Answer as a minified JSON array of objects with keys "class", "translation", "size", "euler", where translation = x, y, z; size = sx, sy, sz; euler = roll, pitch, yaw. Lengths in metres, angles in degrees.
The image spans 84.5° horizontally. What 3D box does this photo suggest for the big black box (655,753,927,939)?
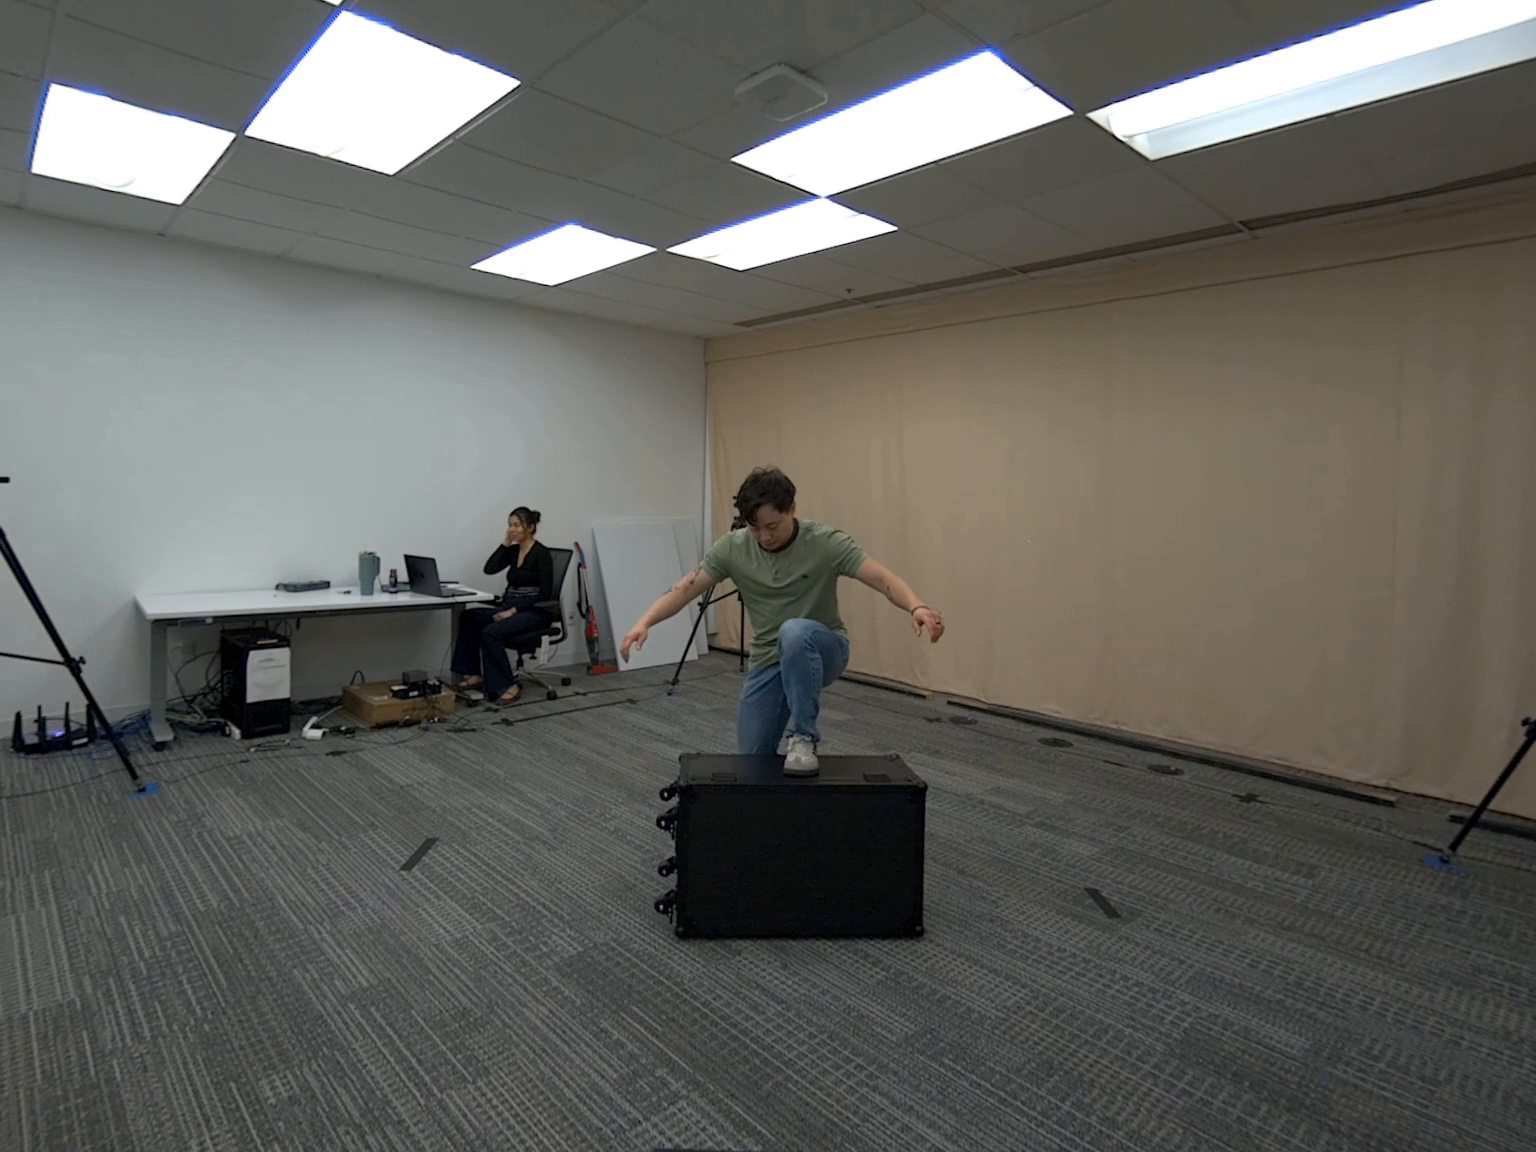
[{"class":"big black box","translation":[0.057,0.880,2.826],"size":[0.858,0.521,0.398],"euler":[1,1,-4]}]
